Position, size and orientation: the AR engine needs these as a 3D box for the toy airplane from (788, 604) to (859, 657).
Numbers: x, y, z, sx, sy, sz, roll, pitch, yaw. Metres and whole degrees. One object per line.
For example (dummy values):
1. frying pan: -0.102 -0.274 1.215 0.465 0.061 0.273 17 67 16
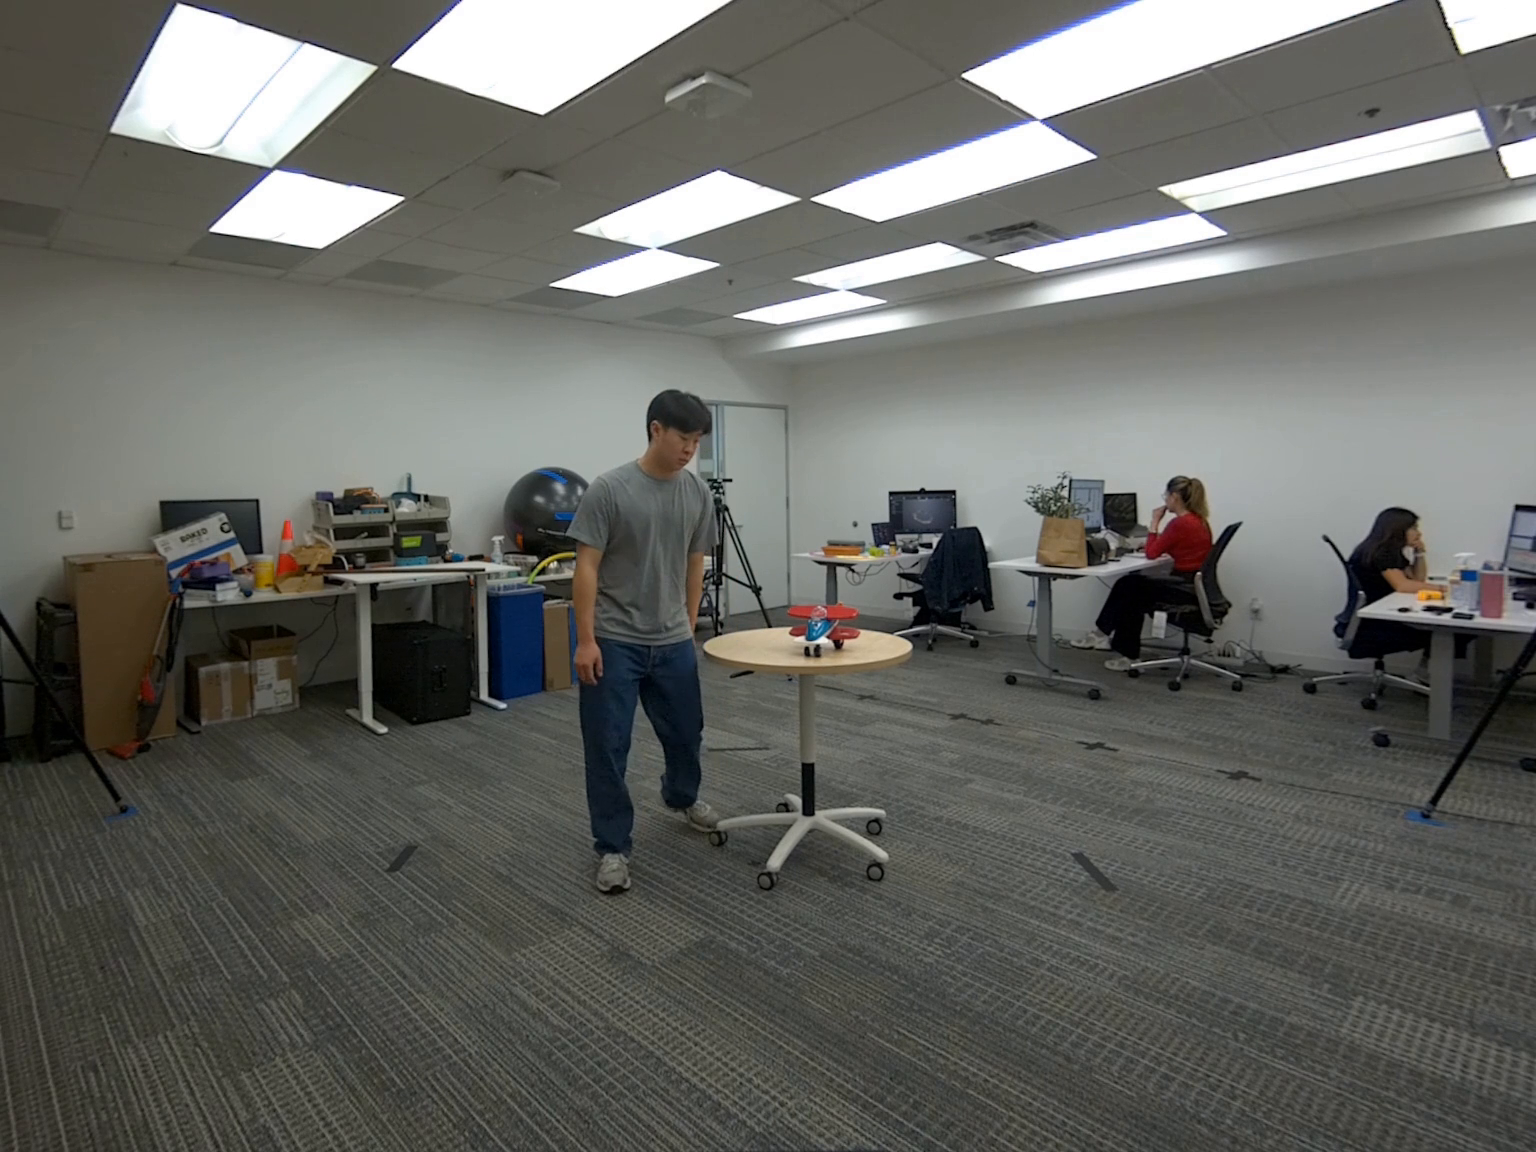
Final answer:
1. toy airplane: 0.204 0.191 3.004 0.250 0.156 0.261 -2 5 -6
